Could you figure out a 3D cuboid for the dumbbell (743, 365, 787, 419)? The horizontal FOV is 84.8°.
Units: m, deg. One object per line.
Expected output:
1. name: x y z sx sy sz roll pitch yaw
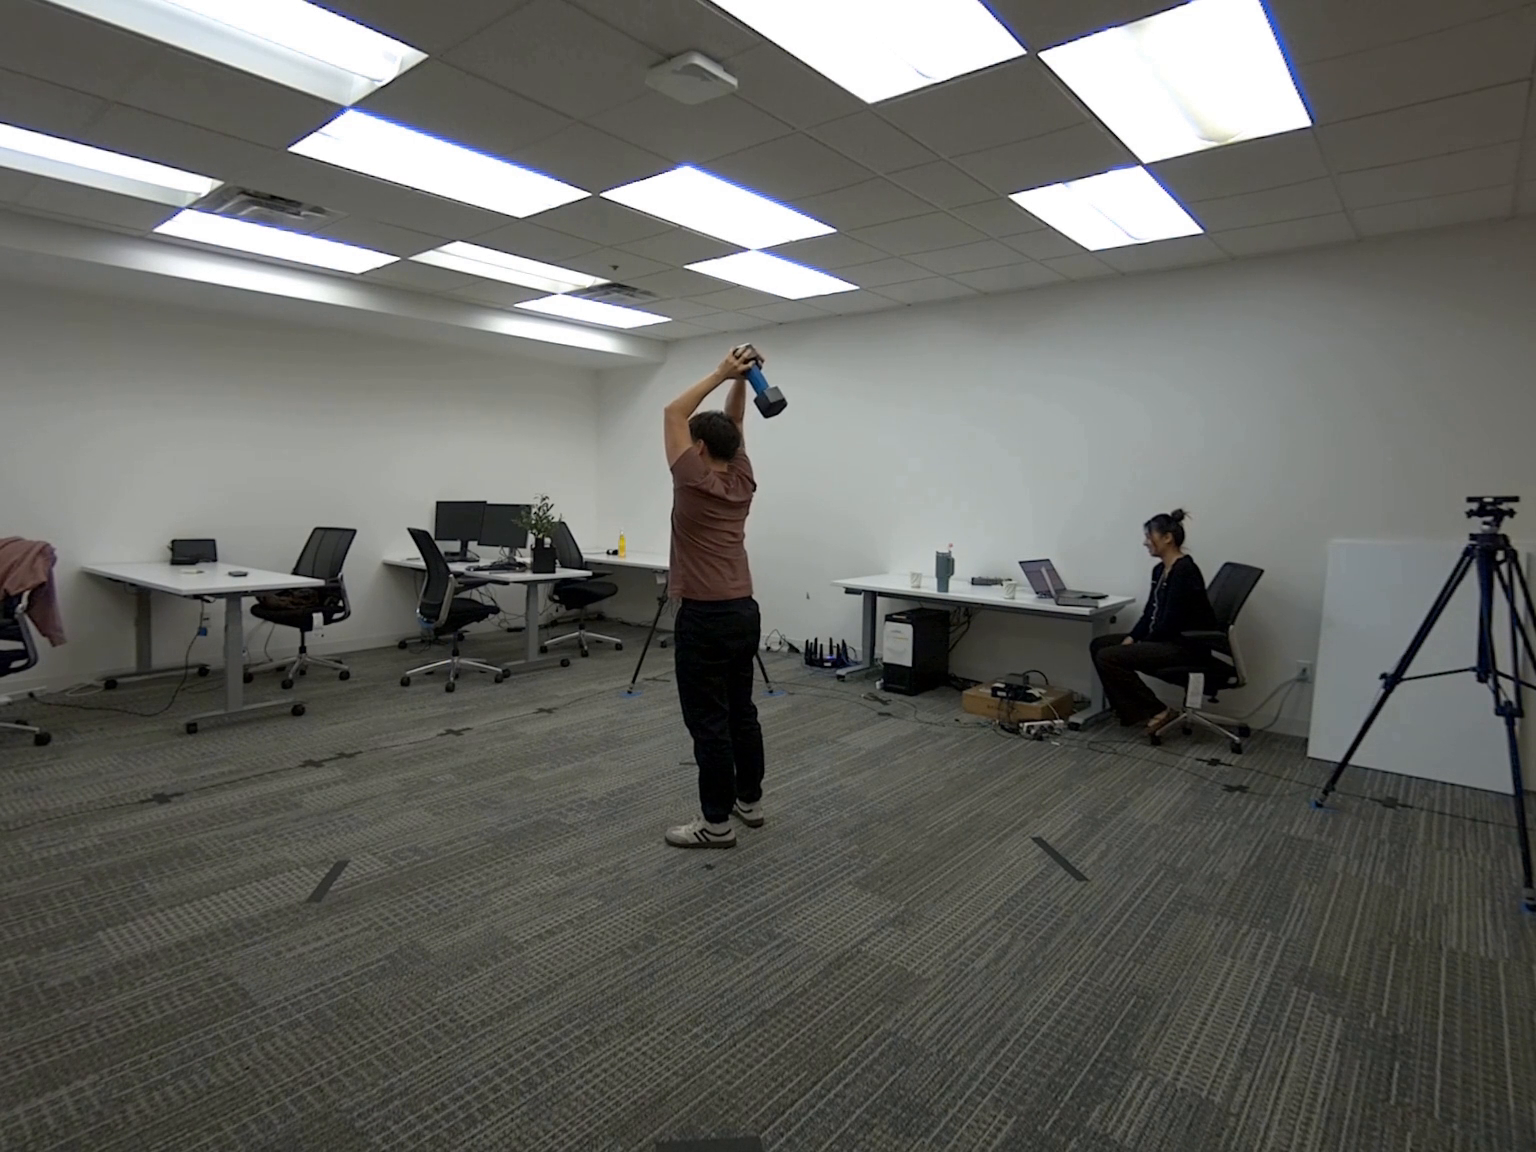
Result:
1. dumbbell: -0.052 -0.760 3.286 0.105 0.302 0.123 -7 -32 -48
